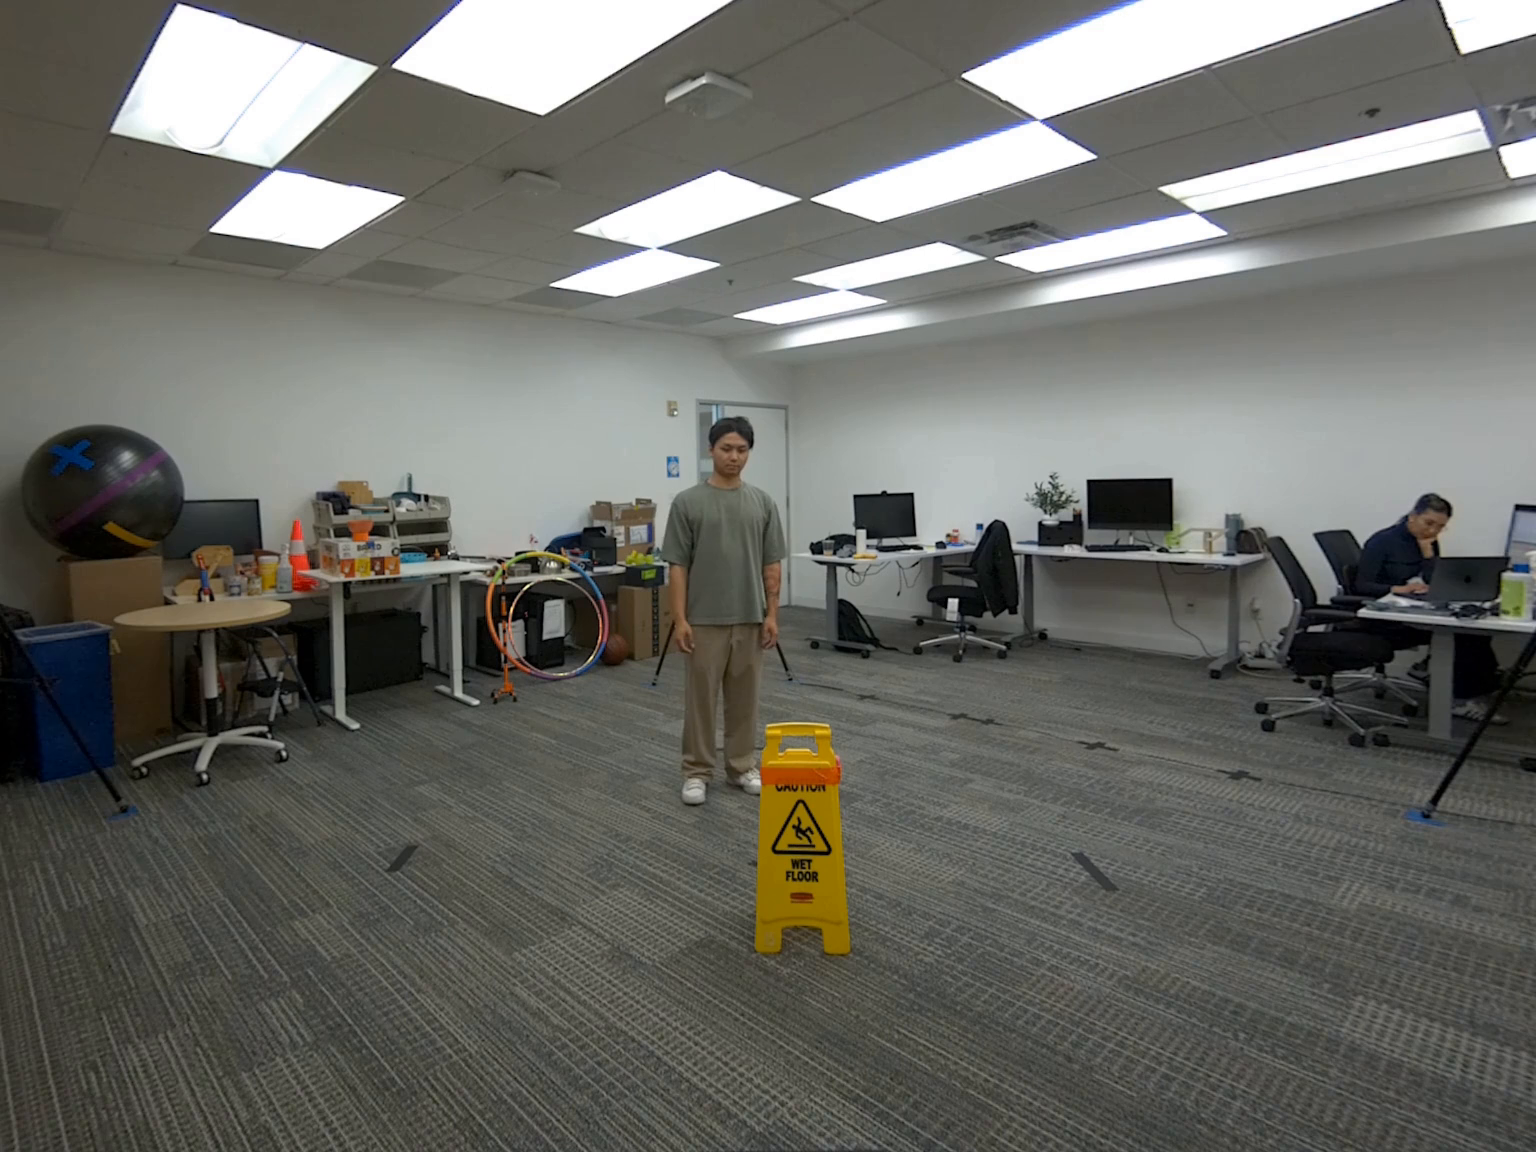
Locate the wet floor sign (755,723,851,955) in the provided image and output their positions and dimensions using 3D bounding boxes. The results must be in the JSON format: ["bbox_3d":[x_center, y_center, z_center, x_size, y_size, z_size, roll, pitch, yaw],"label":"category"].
[{"bbox_3d":[0.099,0.772,2.615,0.283,0.644,0.290,0,4,1],"label":"wet floor sign"}]
